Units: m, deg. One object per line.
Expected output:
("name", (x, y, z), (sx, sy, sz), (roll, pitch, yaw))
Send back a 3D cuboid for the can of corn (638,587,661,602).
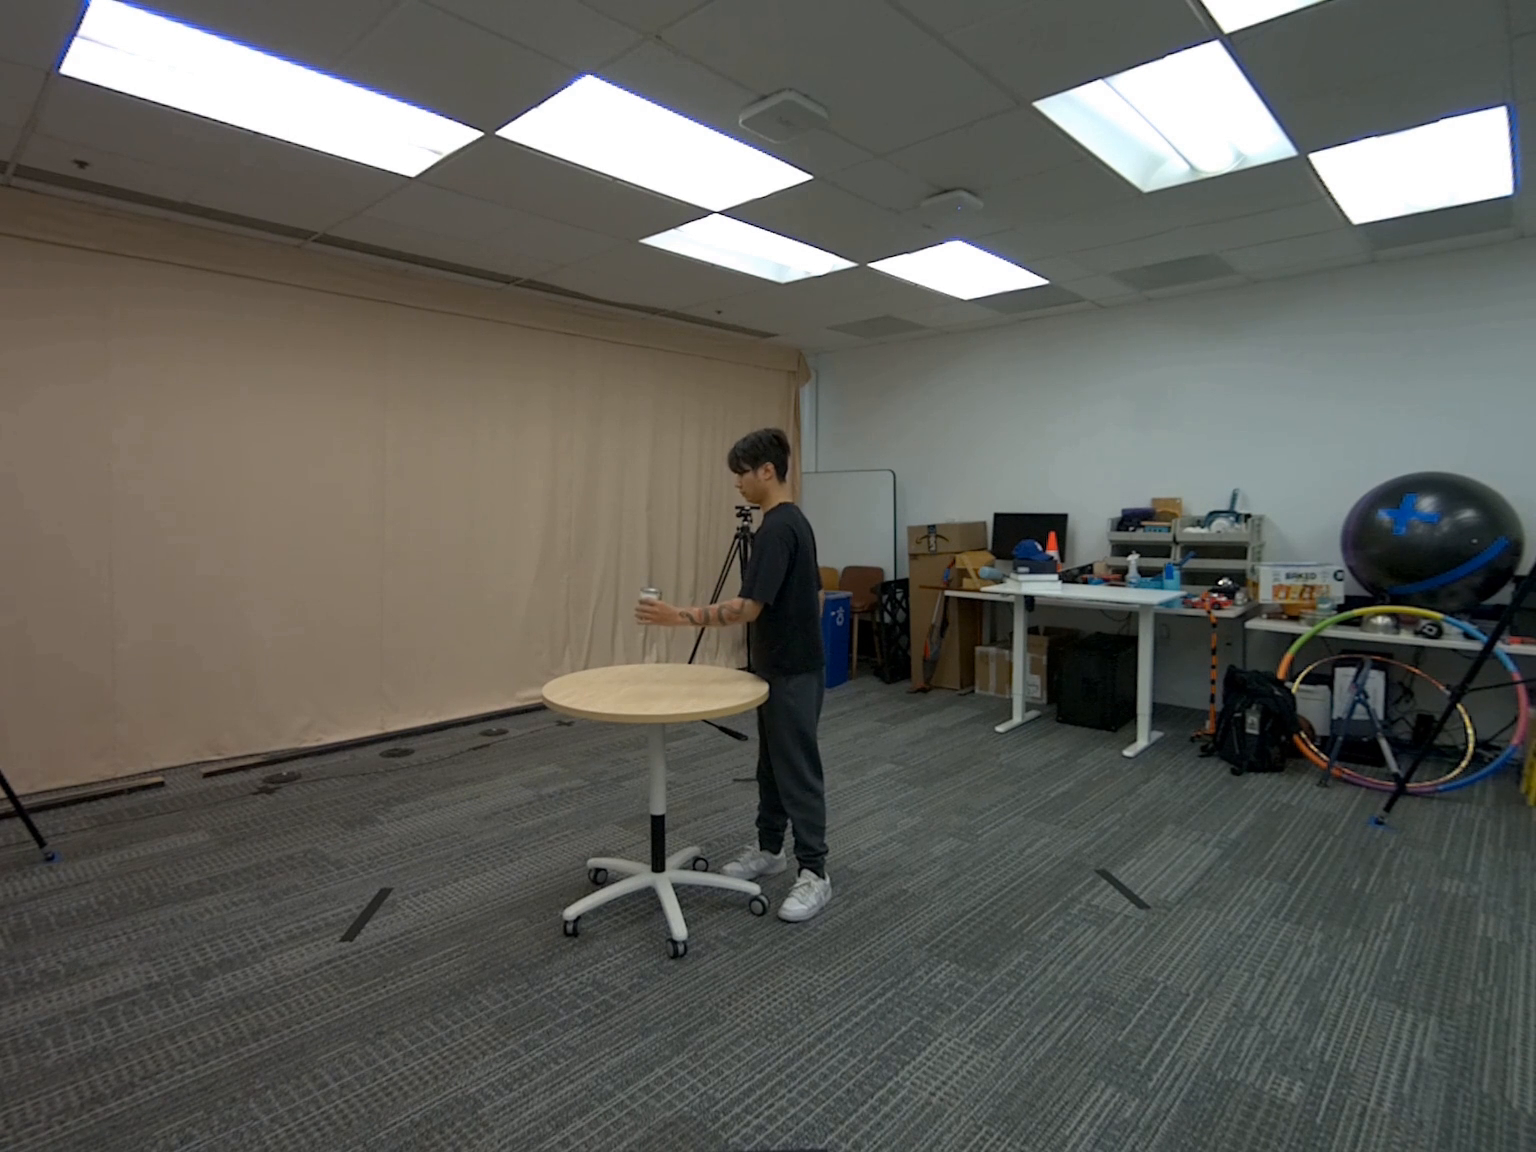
("can of corn", (-0.392, 0.105, 2.799), (0.074, 0.110, 0.074), (5, 7, -3))
